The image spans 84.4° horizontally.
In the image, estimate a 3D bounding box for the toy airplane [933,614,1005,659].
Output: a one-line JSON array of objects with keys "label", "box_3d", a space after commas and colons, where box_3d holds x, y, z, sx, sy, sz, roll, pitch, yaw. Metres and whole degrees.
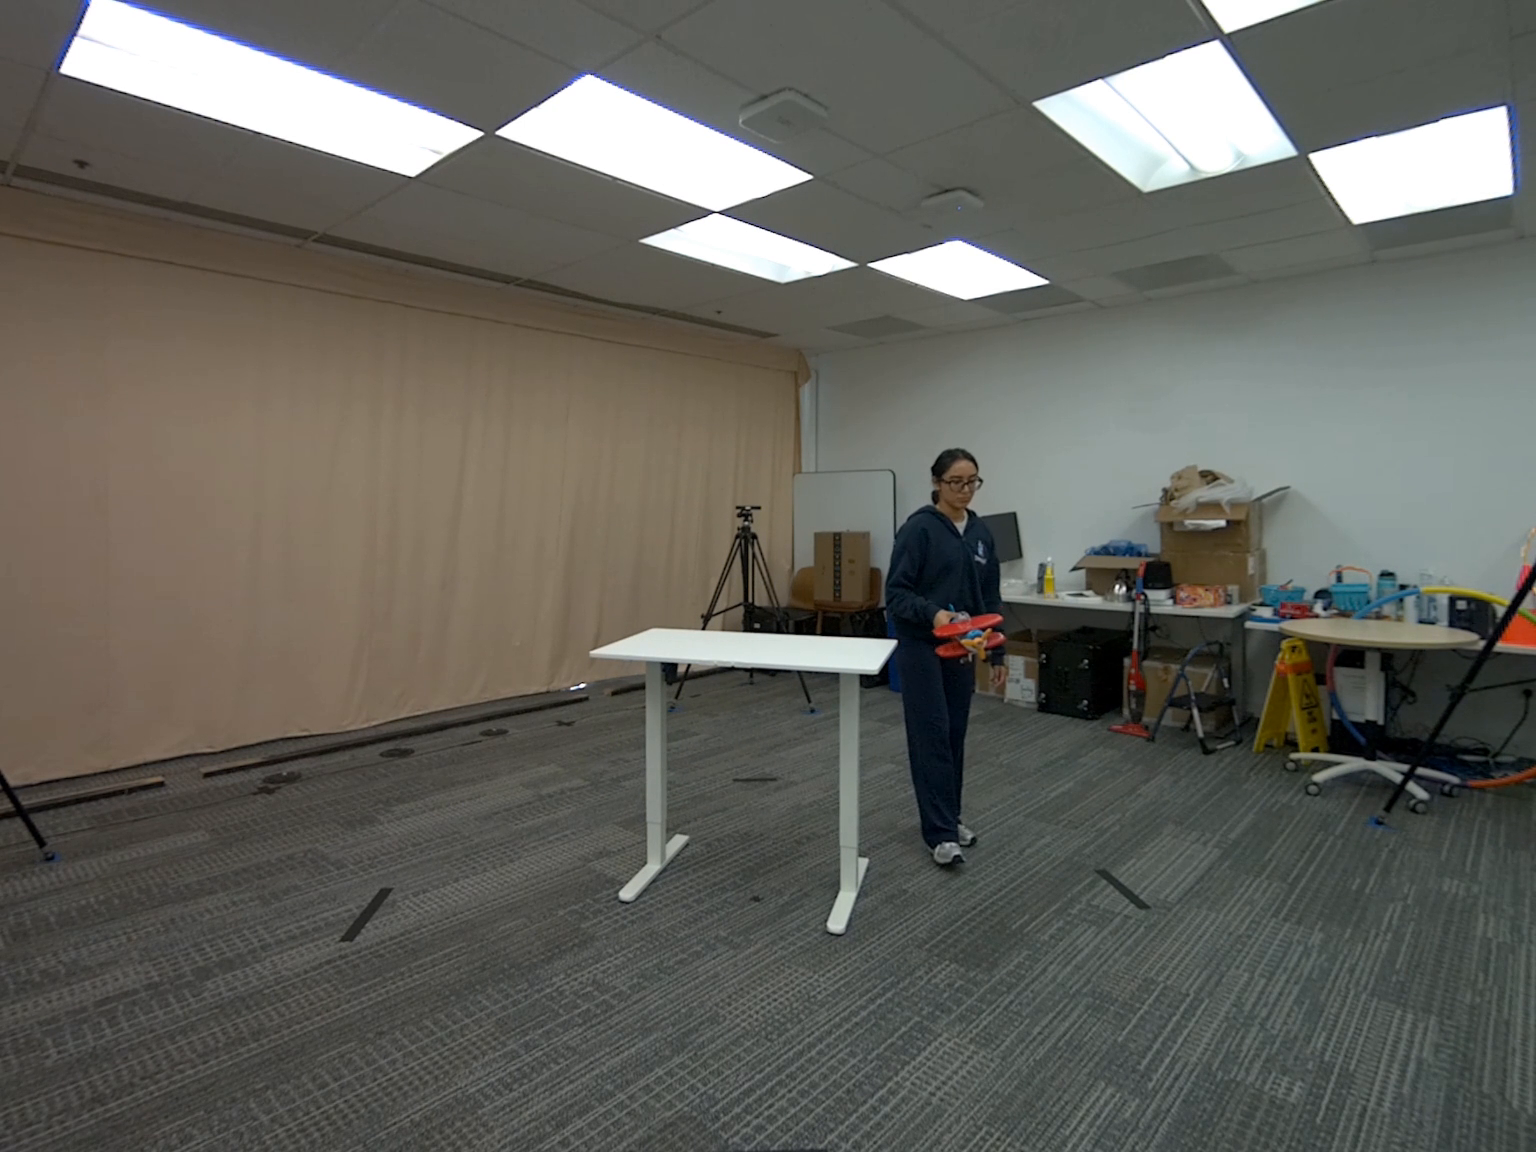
[{"label": "toy airplane", "box_3d": [0.723, 0.215, 3.106, 0.247, 0.153, 0.269, -30, 37, -27]}]
